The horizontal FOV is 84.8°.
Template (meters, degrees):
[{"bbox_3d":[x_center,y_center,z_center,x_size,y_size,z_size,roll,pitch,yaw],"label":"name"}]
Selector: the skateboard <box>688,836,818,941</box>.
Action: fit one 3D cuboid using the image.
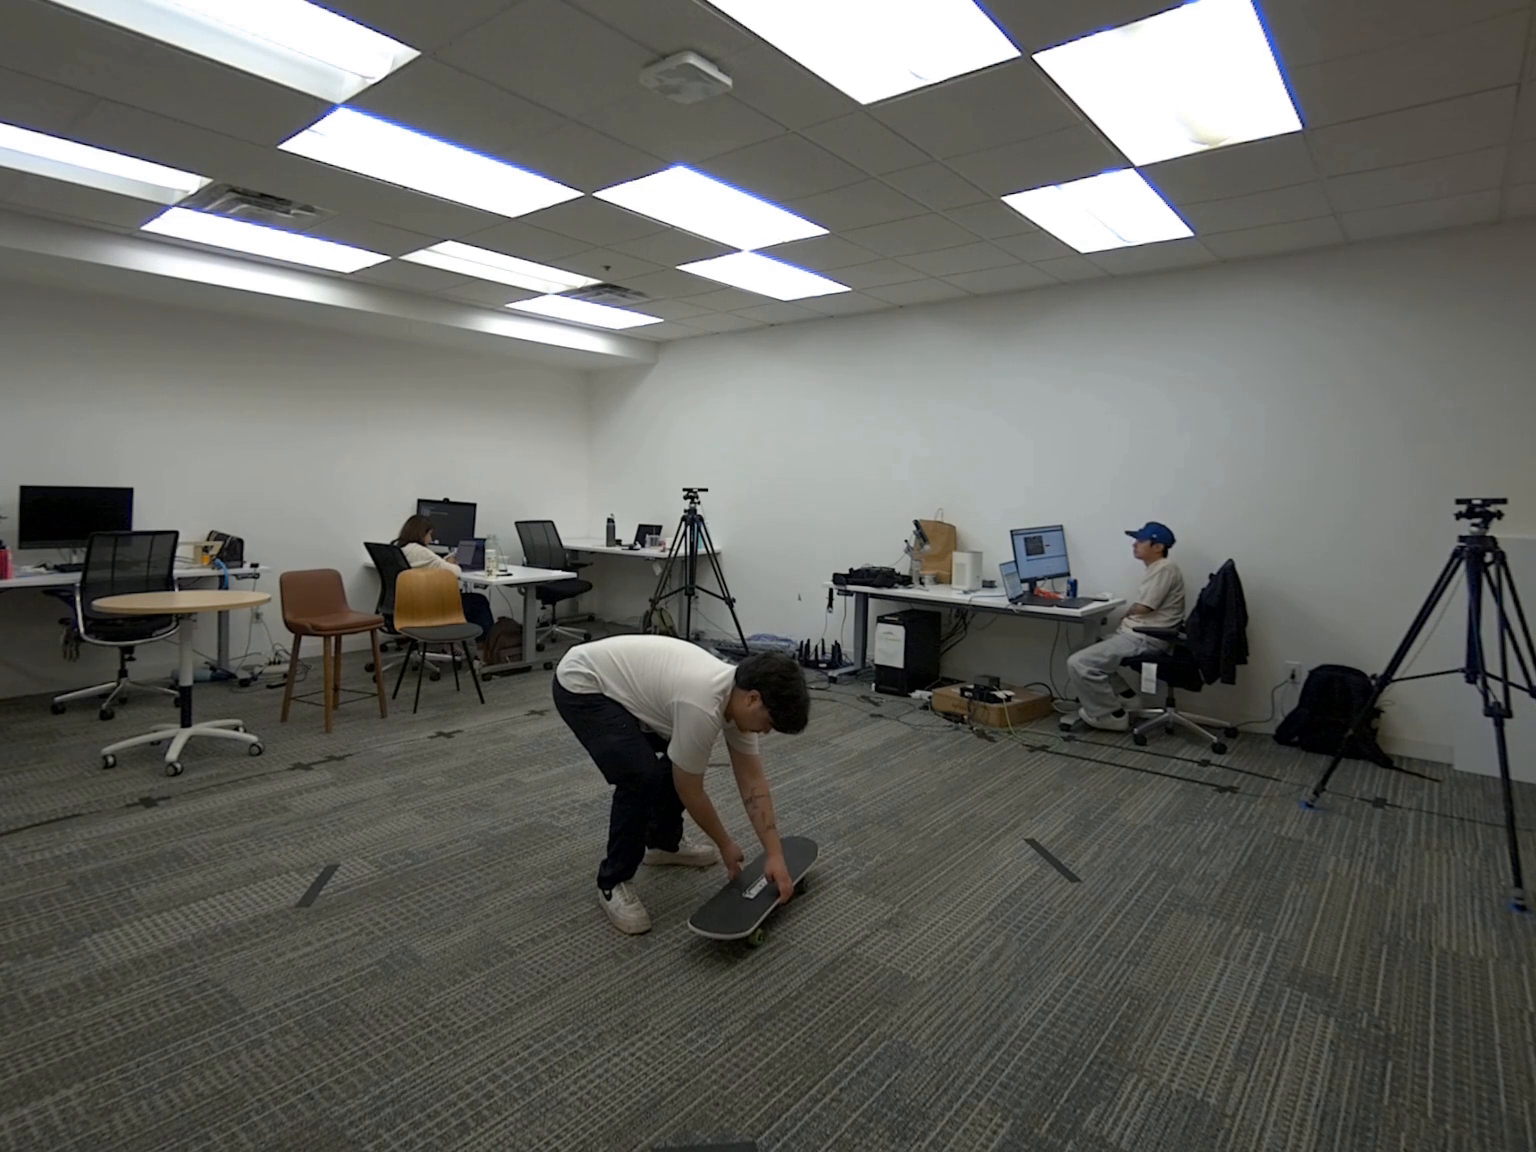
[{"bbox_3d":[-0.034,1.041,2.806,0.198,0.110,0.768,4,6,23],"label":"skateboard"}]
